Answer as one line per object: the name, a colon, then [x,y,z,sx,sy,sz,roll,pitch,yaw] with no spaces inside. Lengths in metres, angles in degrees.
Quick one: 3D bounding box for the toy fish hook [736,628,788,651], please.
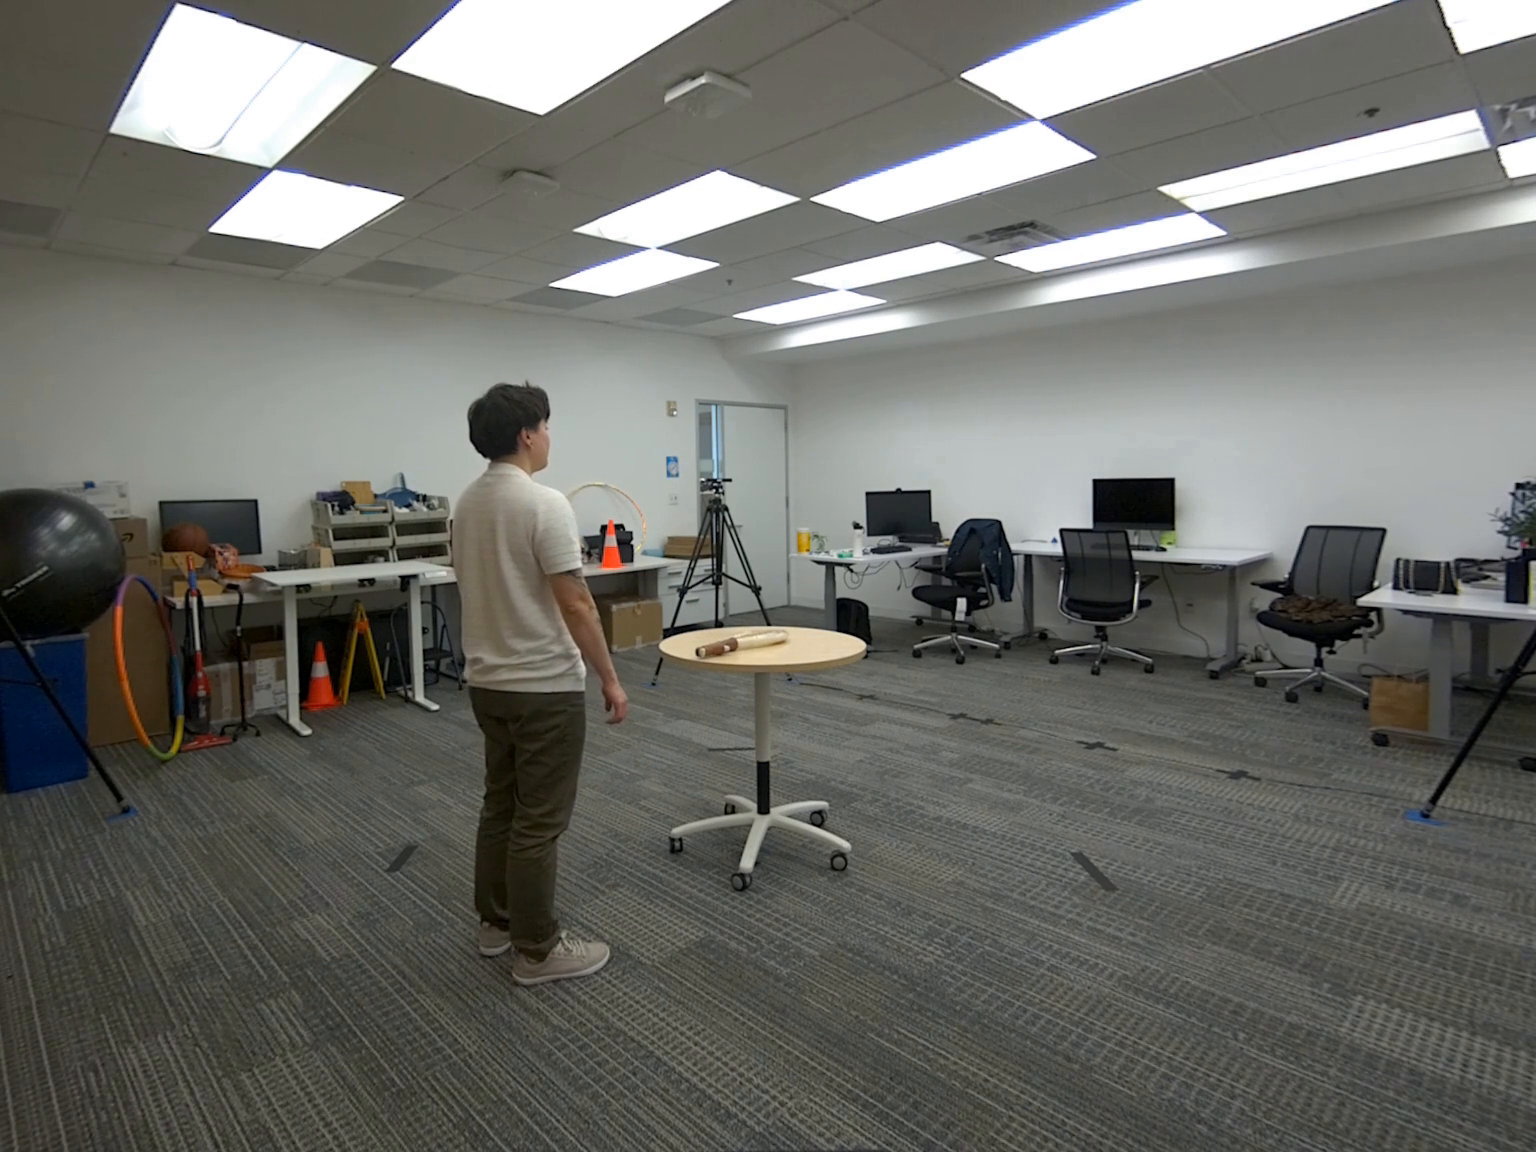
toy fish hook: [-0.125,0.249,3.119,0.230,0.048,0.493,-6,0,38]
